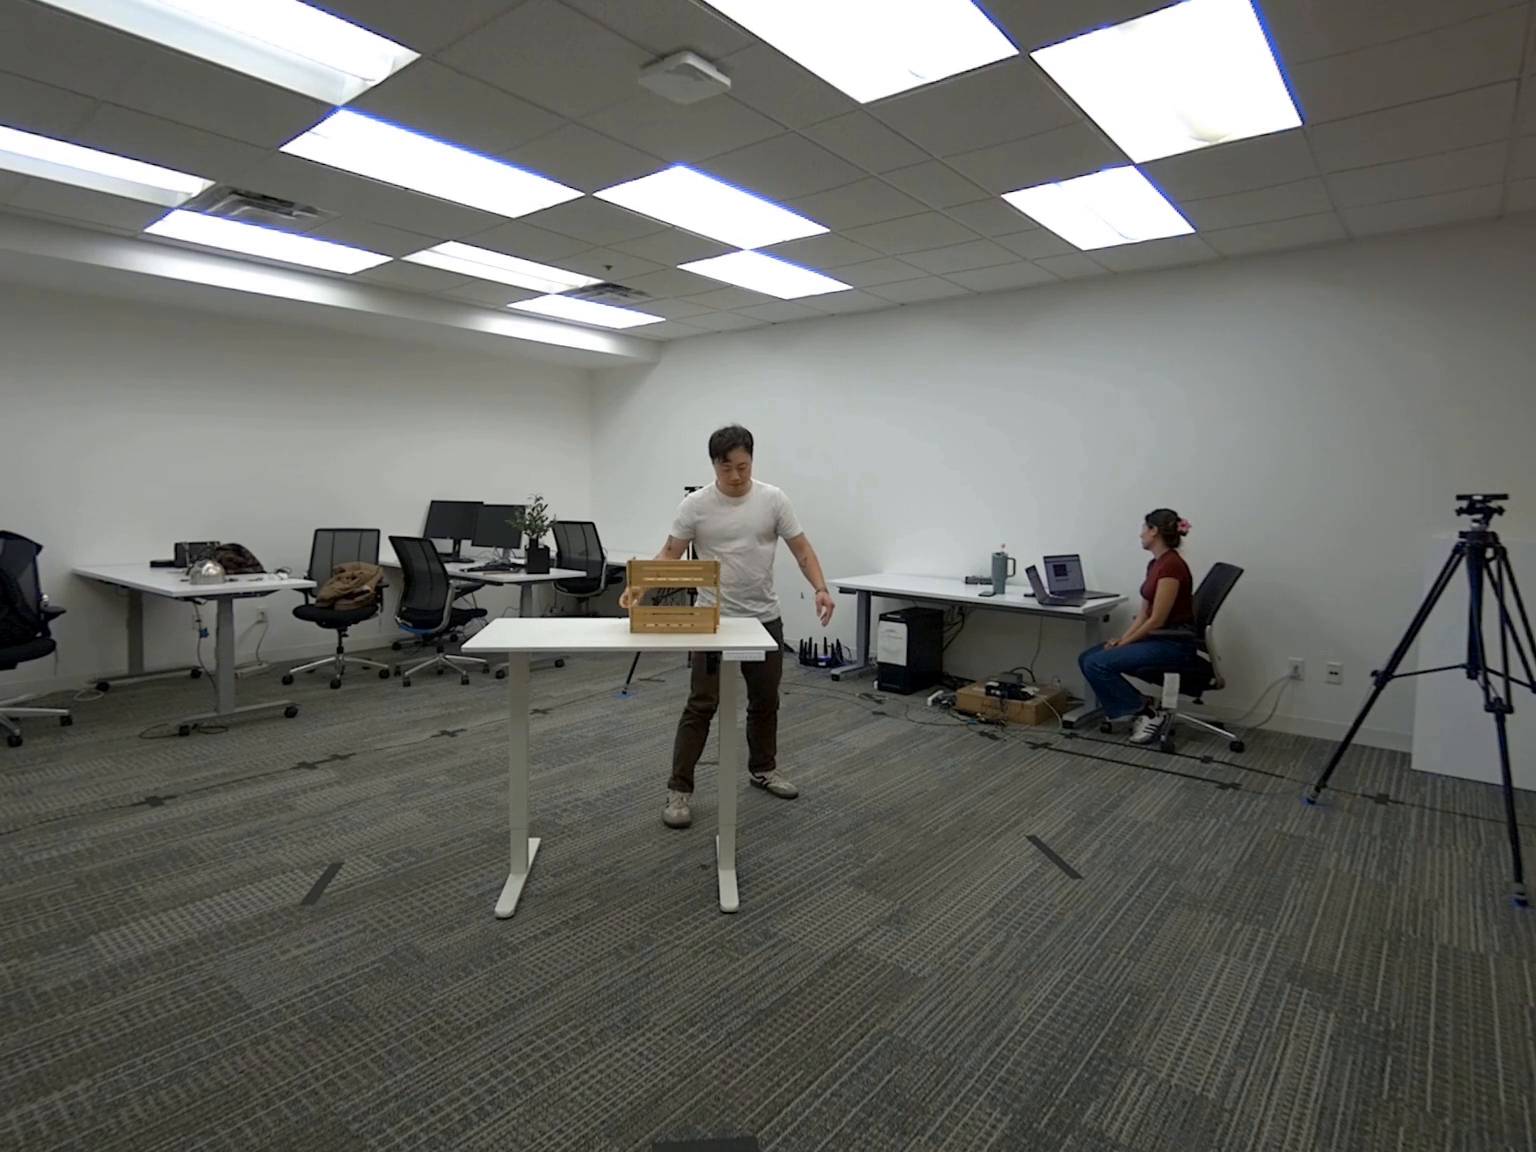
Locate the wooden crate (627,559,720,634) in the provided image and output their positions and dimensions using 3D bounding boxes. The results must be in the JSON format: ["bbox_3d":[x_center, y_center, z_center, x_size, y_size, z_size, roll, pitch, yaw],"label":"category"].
[{"bbox_3d":[-0.354,0.056,3.051,0.323,0.272,0.304,0,6,-3],"label":"wooden crate"}]
